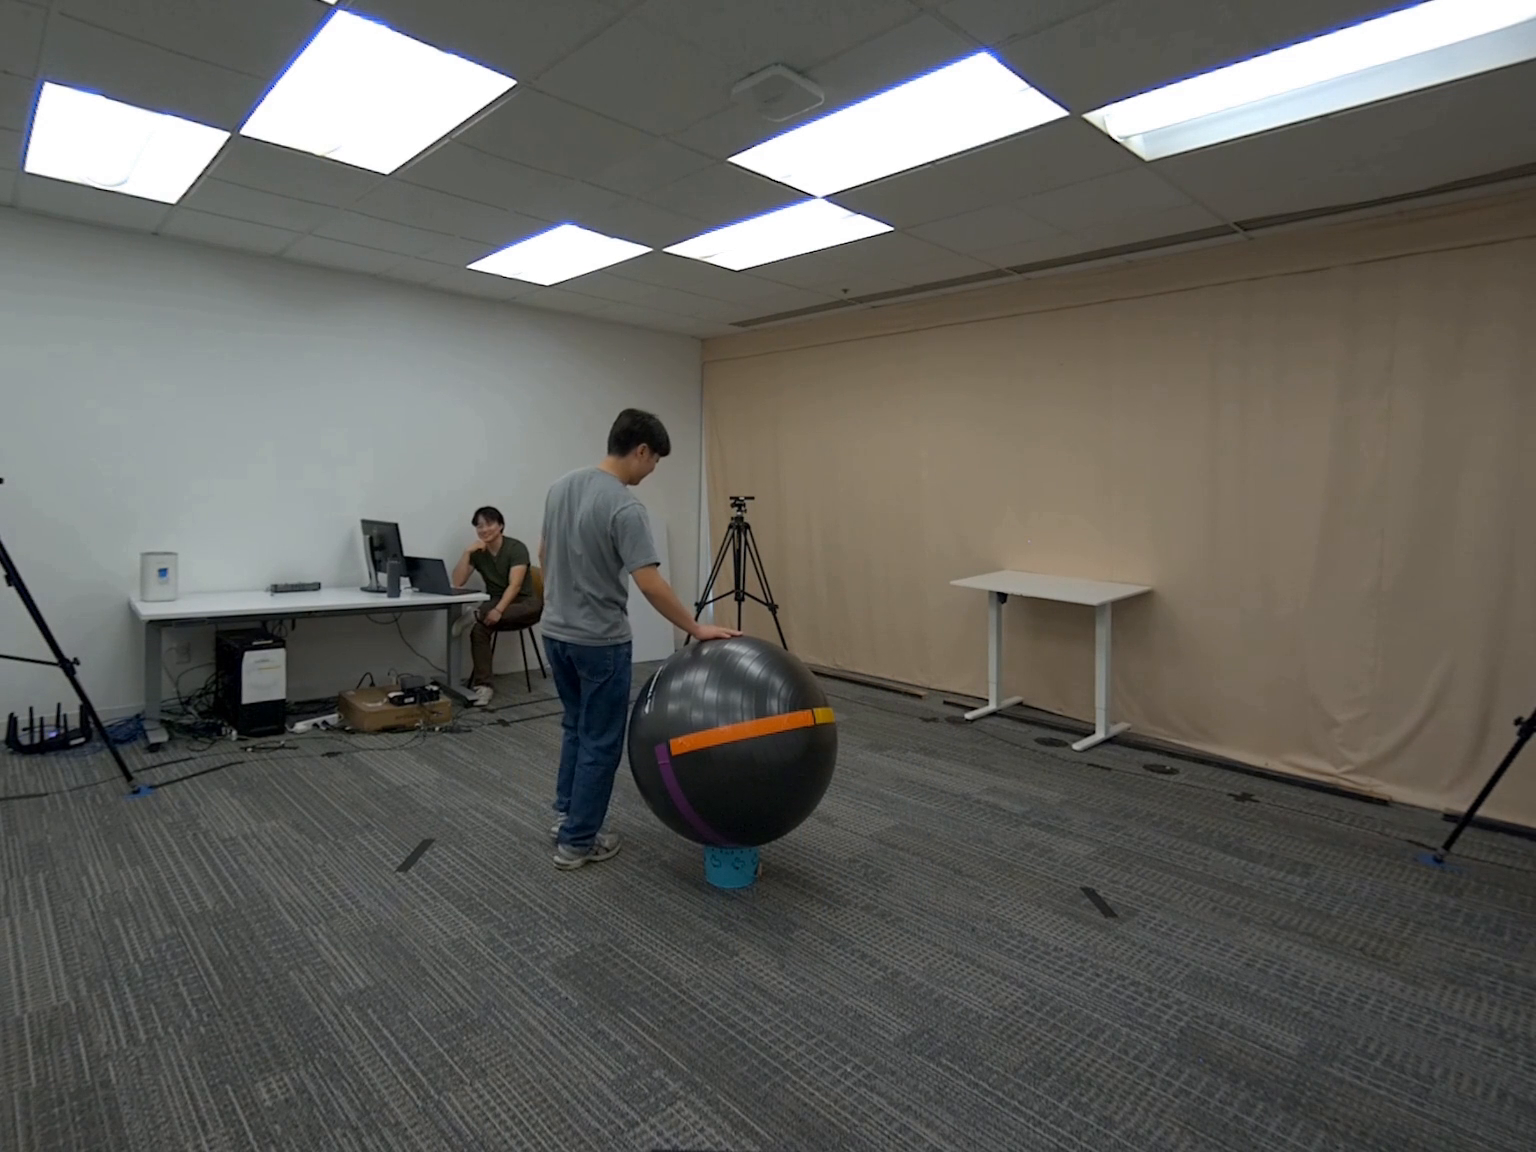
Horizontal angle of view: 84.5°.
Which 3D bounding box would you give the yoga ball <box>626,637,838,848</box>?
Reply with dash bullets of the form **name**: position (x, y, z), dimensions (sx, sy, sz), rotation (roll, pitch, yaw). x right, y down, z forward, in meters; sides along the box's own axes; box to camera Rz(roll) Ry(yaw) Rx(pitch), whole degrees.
- **yoga ball**: position (-0.134, 0.598, 3.064), dimensions (0.757, 0.756, 0.761), rotation (1, 4, -1)
